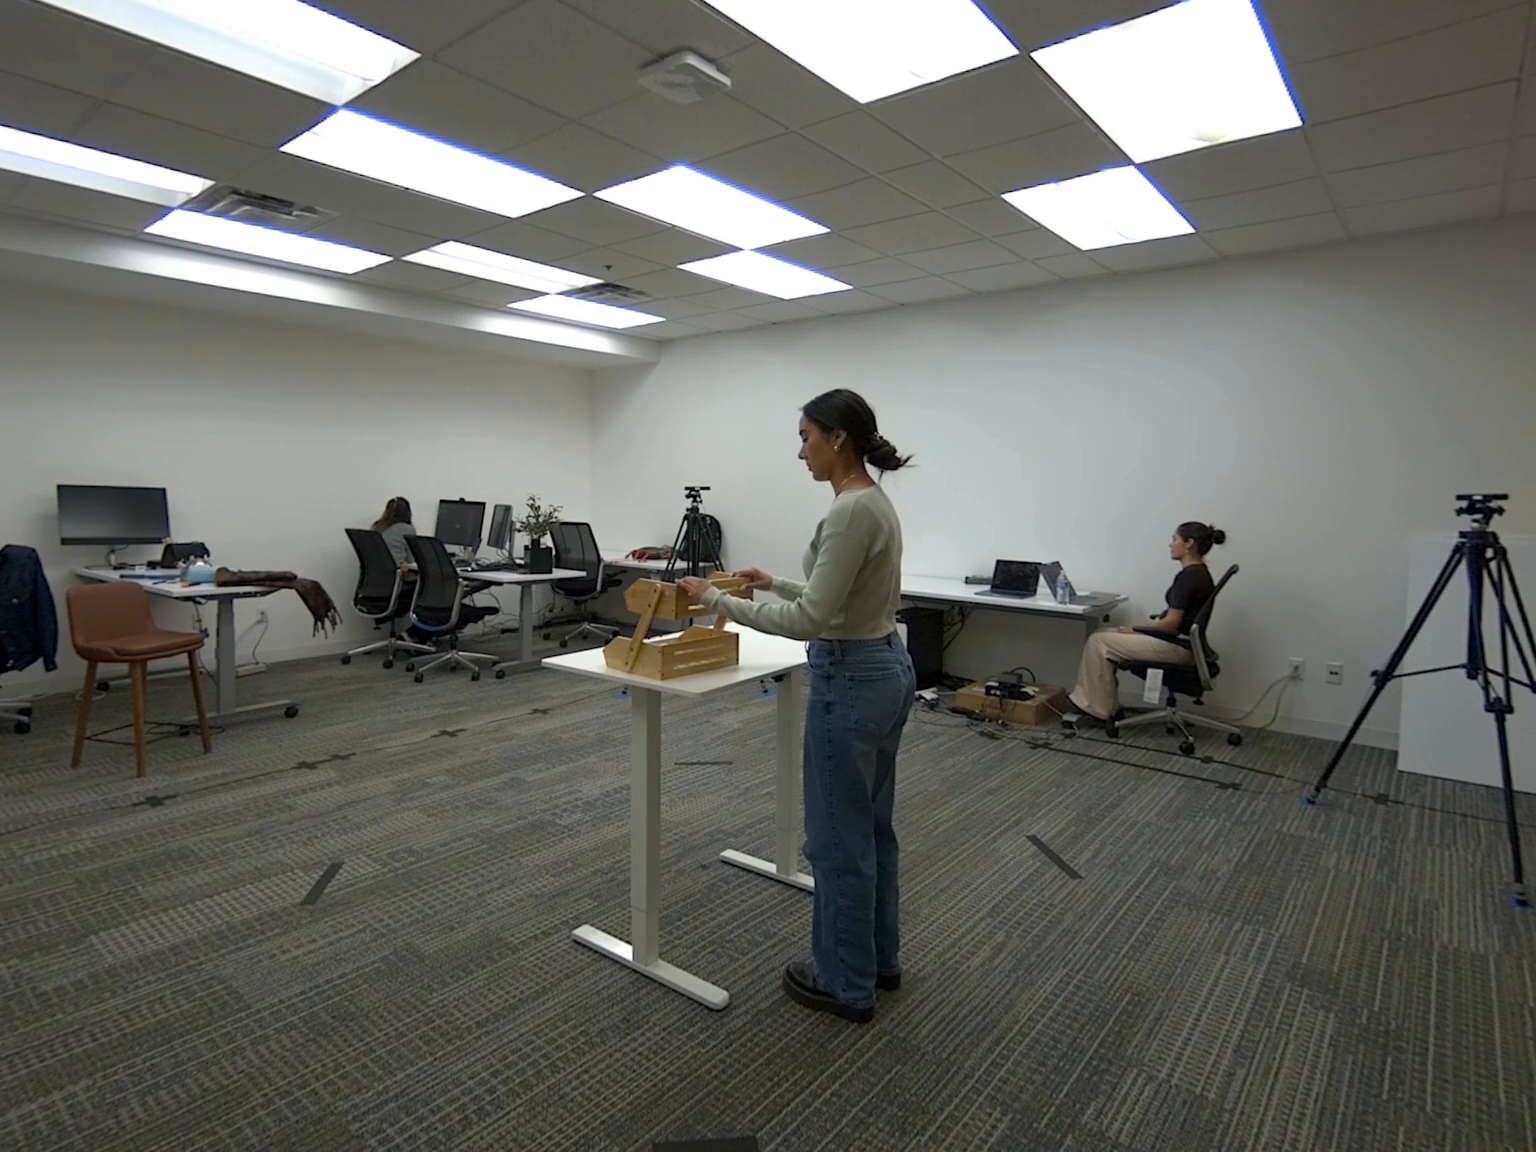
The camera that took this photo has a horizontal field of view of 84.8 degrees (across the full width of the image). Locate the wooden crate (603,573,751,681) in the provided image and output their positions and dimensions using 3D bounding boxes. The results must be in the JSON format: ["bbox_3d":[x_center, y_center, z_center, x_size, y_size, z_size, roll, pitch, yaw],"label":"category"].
[{"bbox_3d":[-0.265,0.126,2.399,0.312,0.272,0.315,6,8,42],"label":"wooden crate"}]
